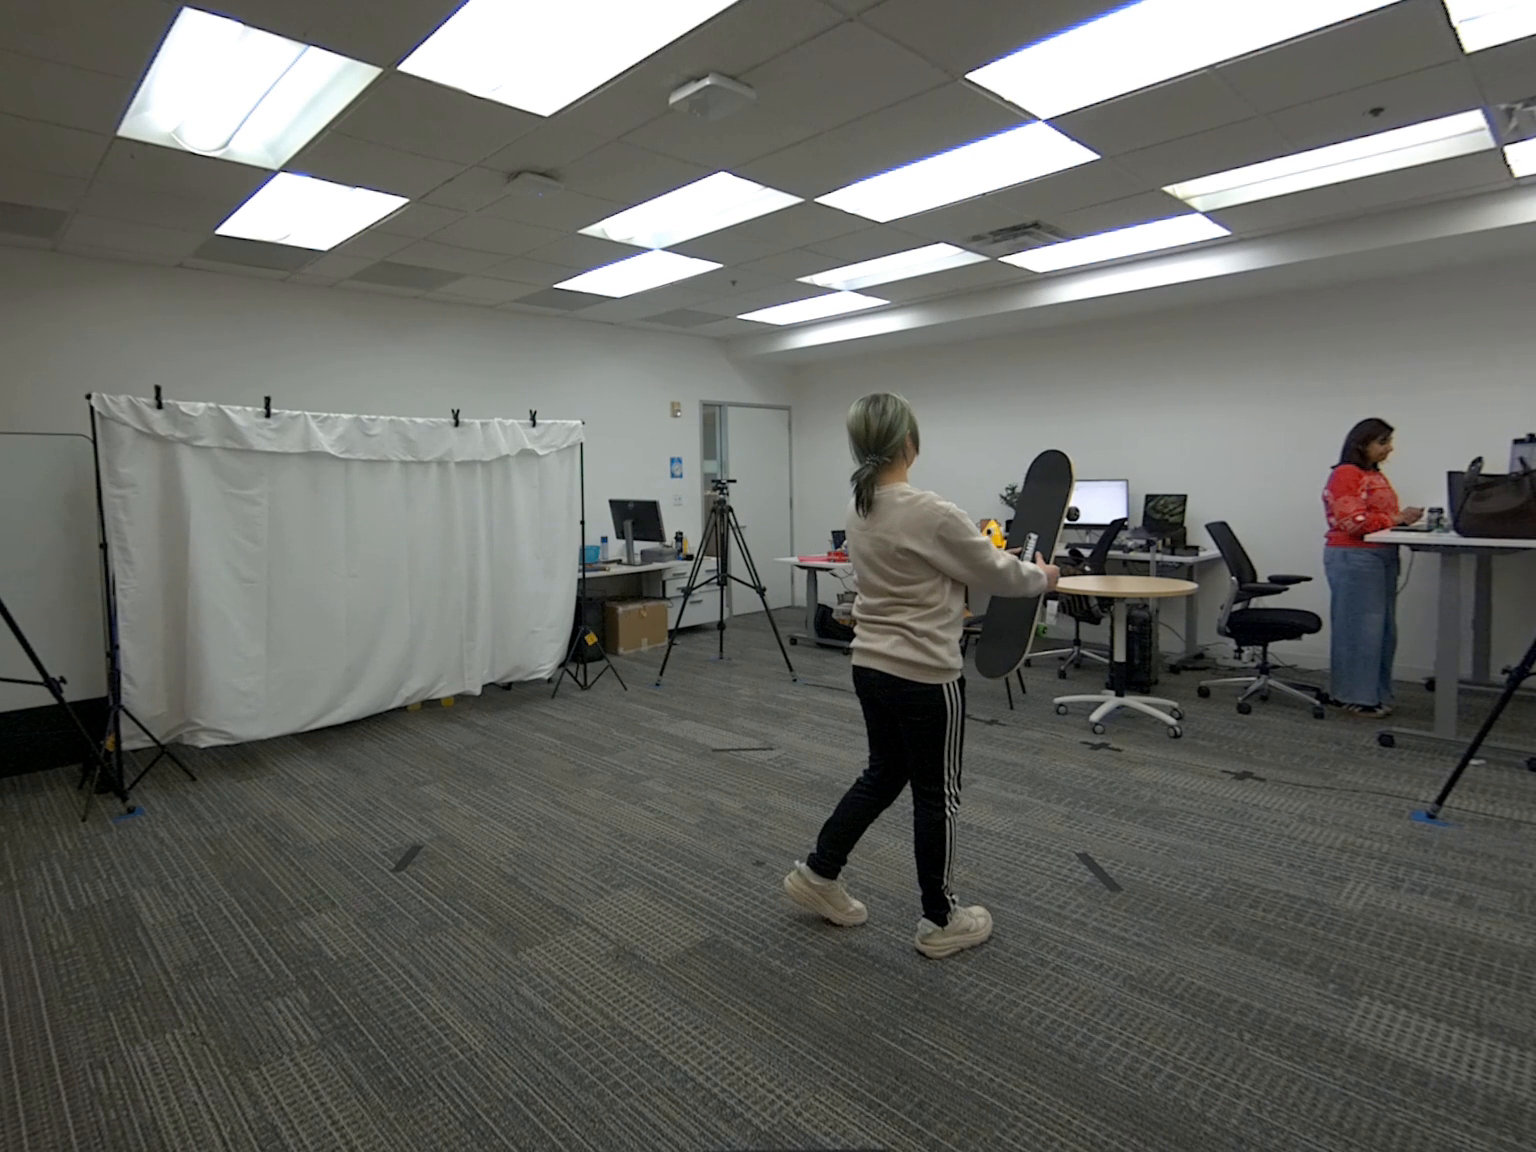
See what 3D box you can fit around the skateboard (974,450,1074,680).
[{"bbox_3d":[0.853,-0.031,2.778,0.107,0.790,0.199,24,-11,-32],"label":"skateboard"}]
